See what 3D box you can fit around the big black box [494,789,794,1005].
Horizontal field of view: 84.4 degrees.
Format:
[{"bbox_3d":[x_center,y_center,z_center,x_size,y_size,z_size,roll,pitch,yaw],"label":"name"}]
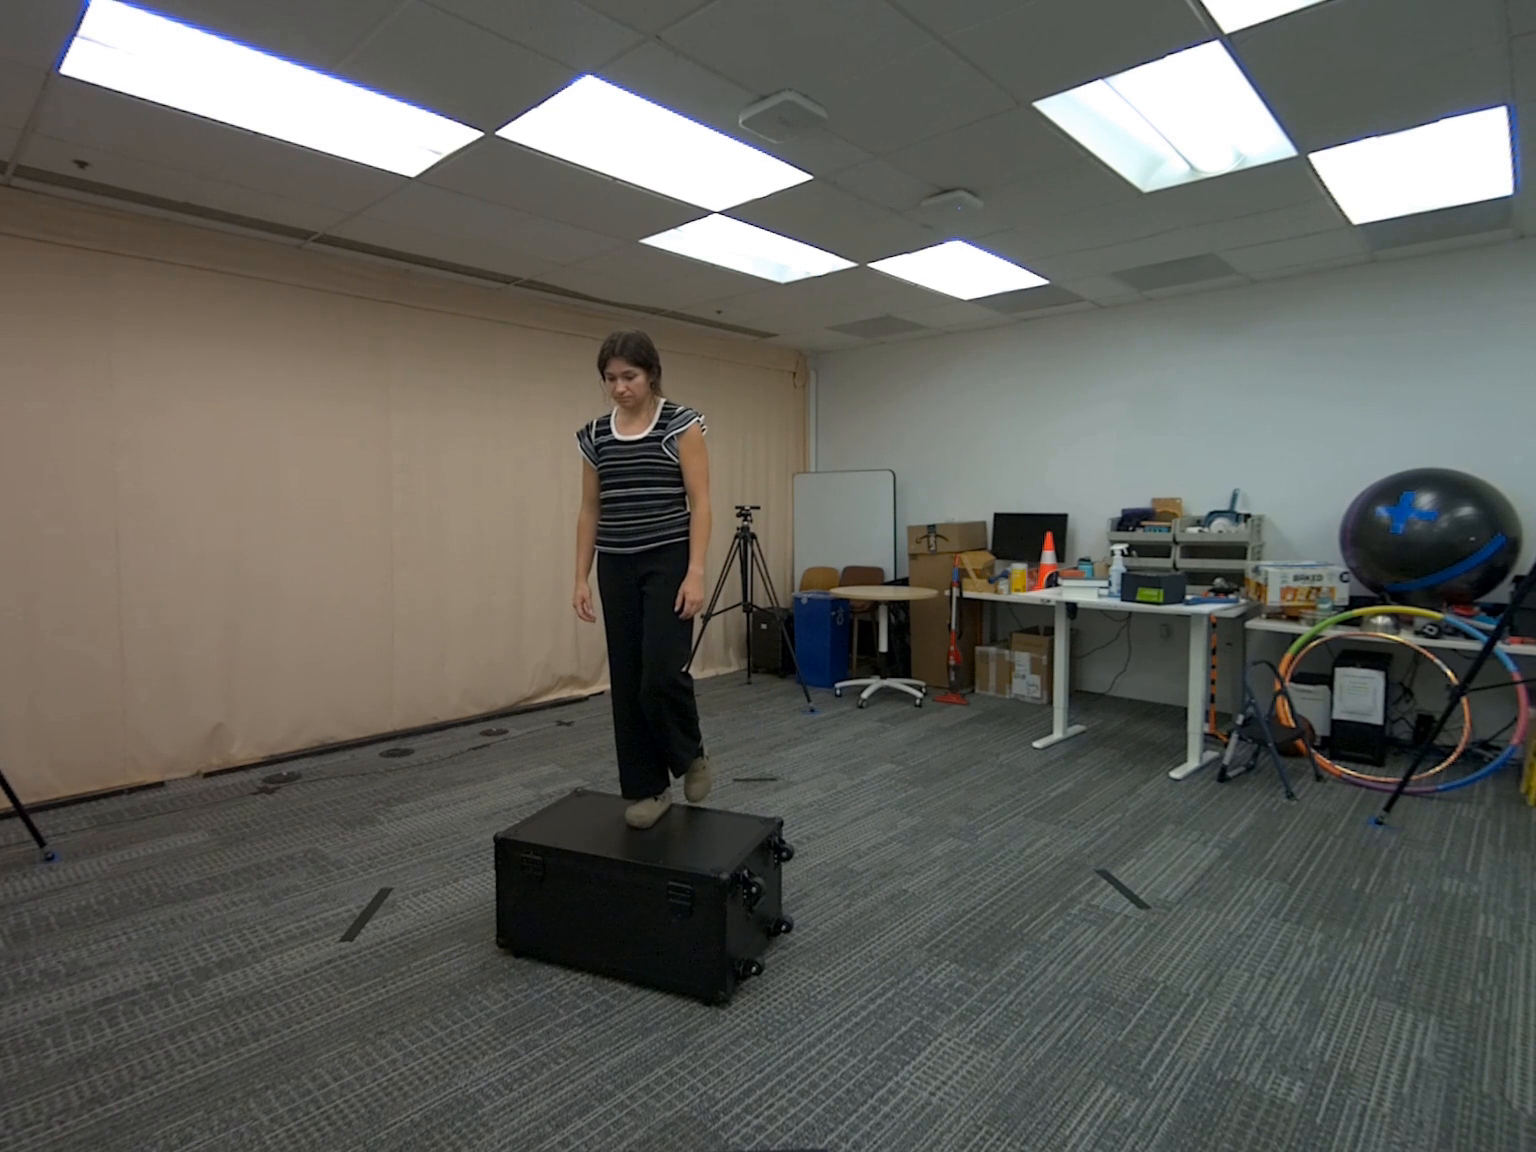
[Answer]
[{"bbox_3d":[-0.368,0.981,2.663,0.881,0.395,0.510,1,3,22],"label":"big black box"}]
